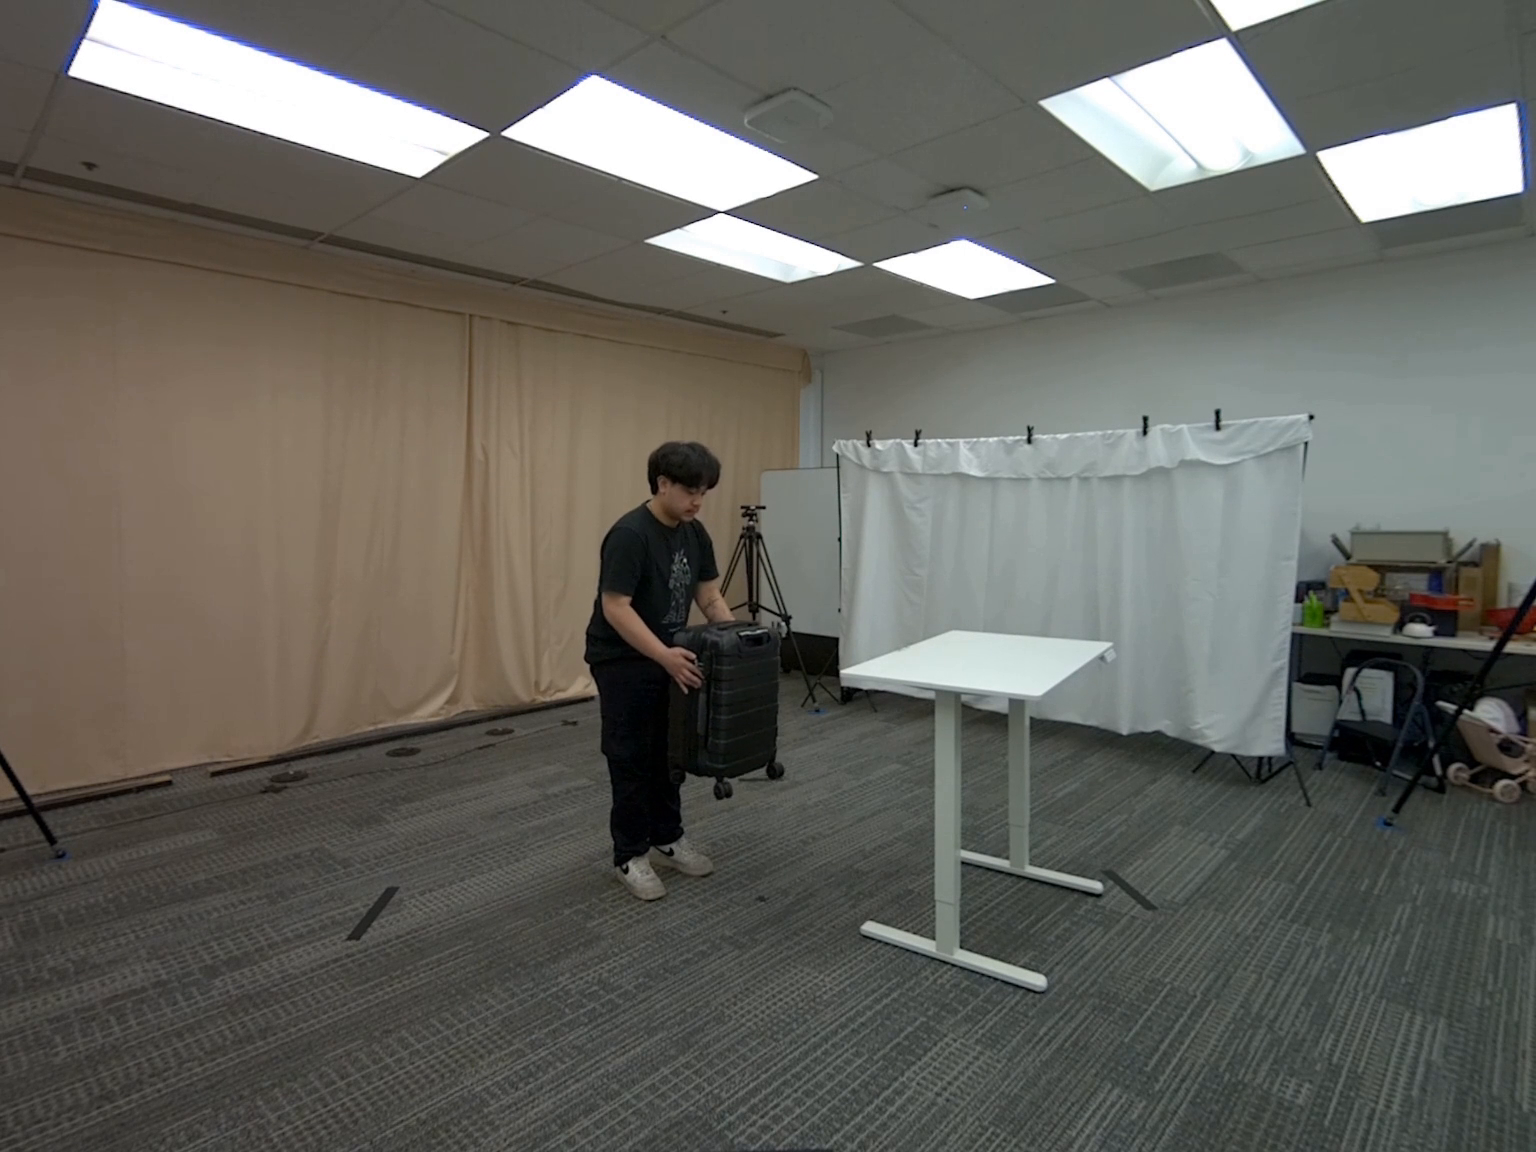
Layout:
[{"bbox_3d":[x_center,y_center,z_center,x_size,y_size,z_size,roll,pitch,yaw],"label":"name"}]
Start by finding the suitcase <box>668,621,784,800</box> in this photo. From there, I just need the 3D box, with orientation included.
[{"bbox_3d":[-0.147,0.436,2.908,0.256,0.548,0.364,4,4,37],"label":"suitcase"}]
